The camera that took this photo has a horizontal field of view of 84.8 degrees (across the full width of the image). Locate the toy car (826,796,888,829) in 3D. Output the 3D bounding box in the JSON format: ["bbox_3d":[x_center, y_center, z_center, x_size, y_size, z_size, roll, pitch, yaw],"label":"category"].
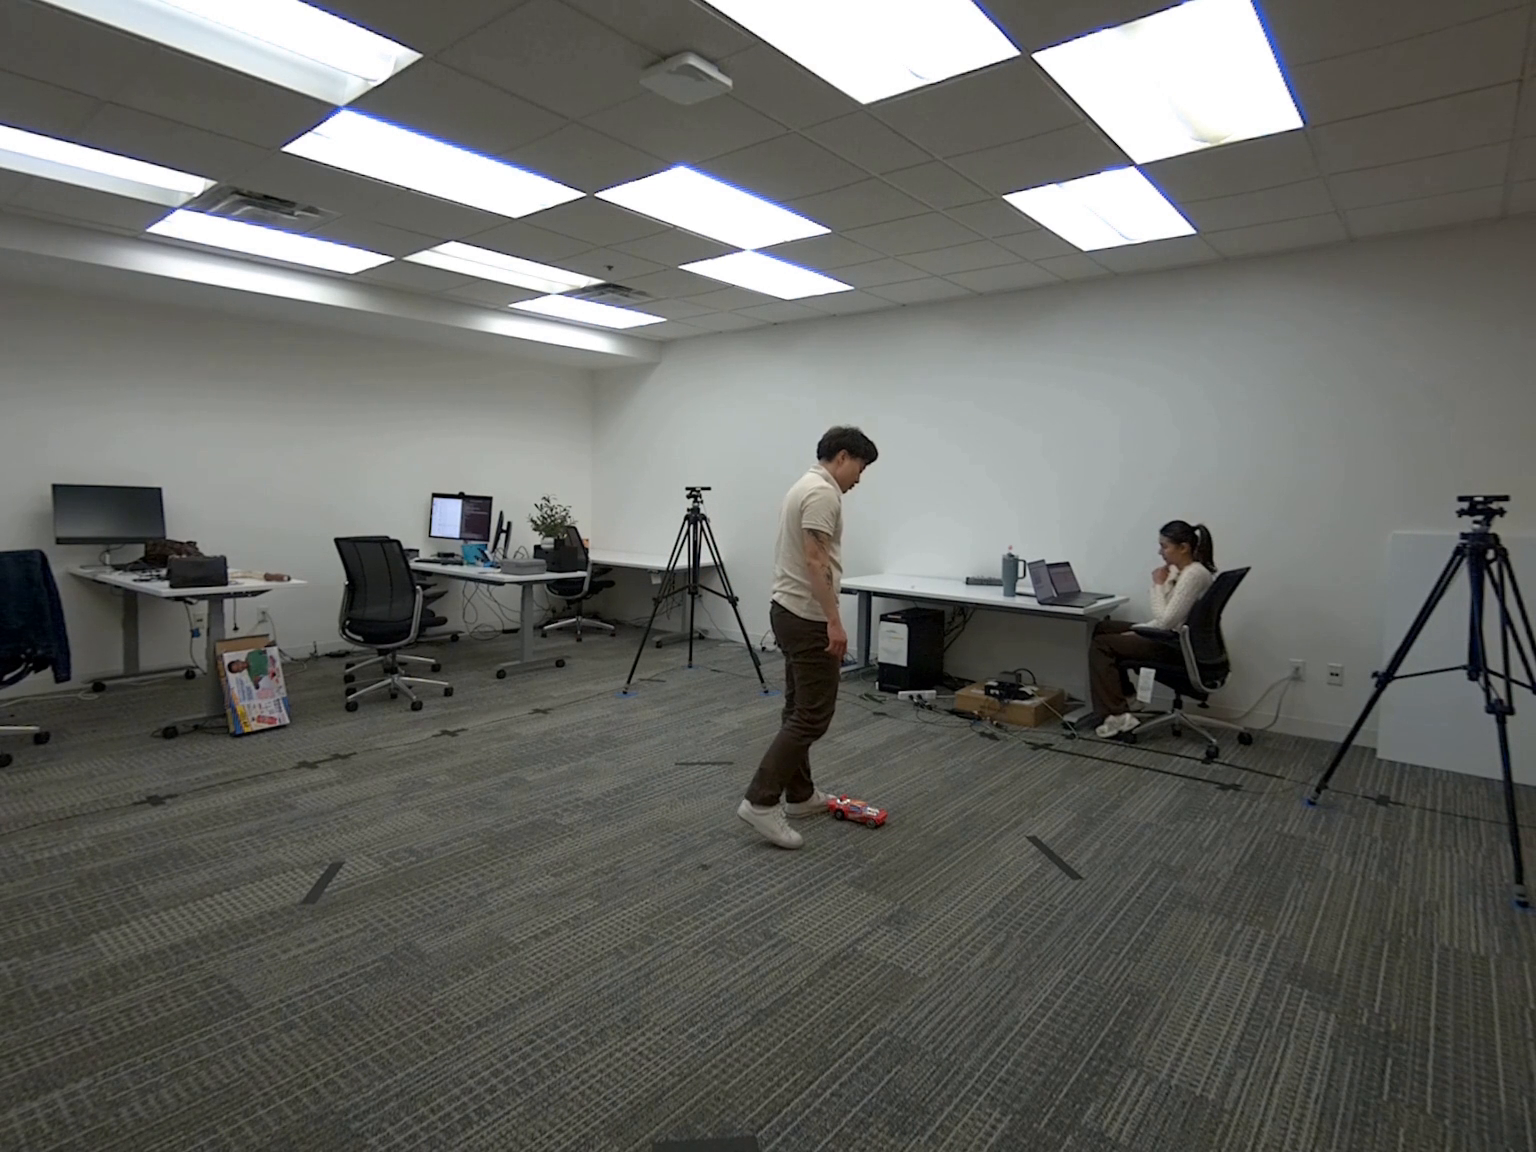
[{"bbox_3d":[0.363,0.990,3.604,0.264,0.082,0.127,17,13,33],"label":"toy car"}]
